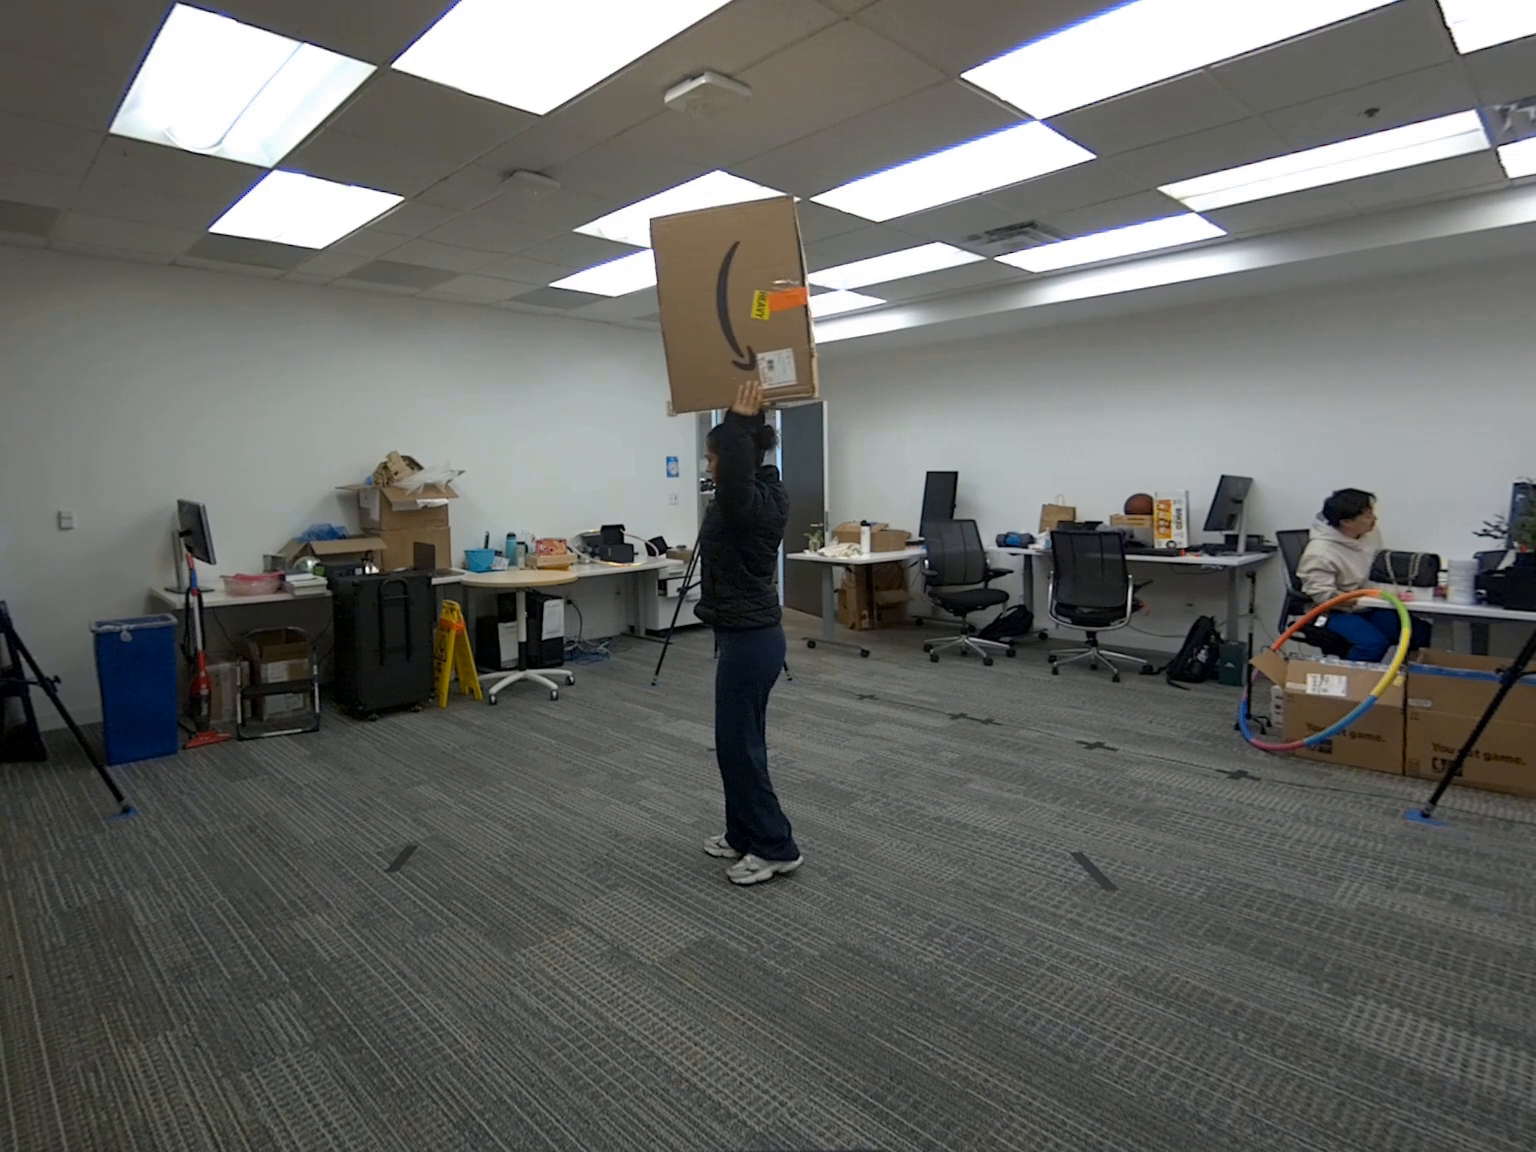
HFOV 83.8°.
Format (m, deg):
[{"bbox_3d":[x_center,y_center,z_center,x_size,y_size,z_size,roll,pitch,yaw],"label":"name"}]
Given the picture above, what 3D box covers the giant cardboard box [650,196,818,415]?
[{"bbox_3d":[-0.067,-0.880,2.980,0.449,0.578,1.032,-5,12,5],"label":"giant cardboard box"}]
